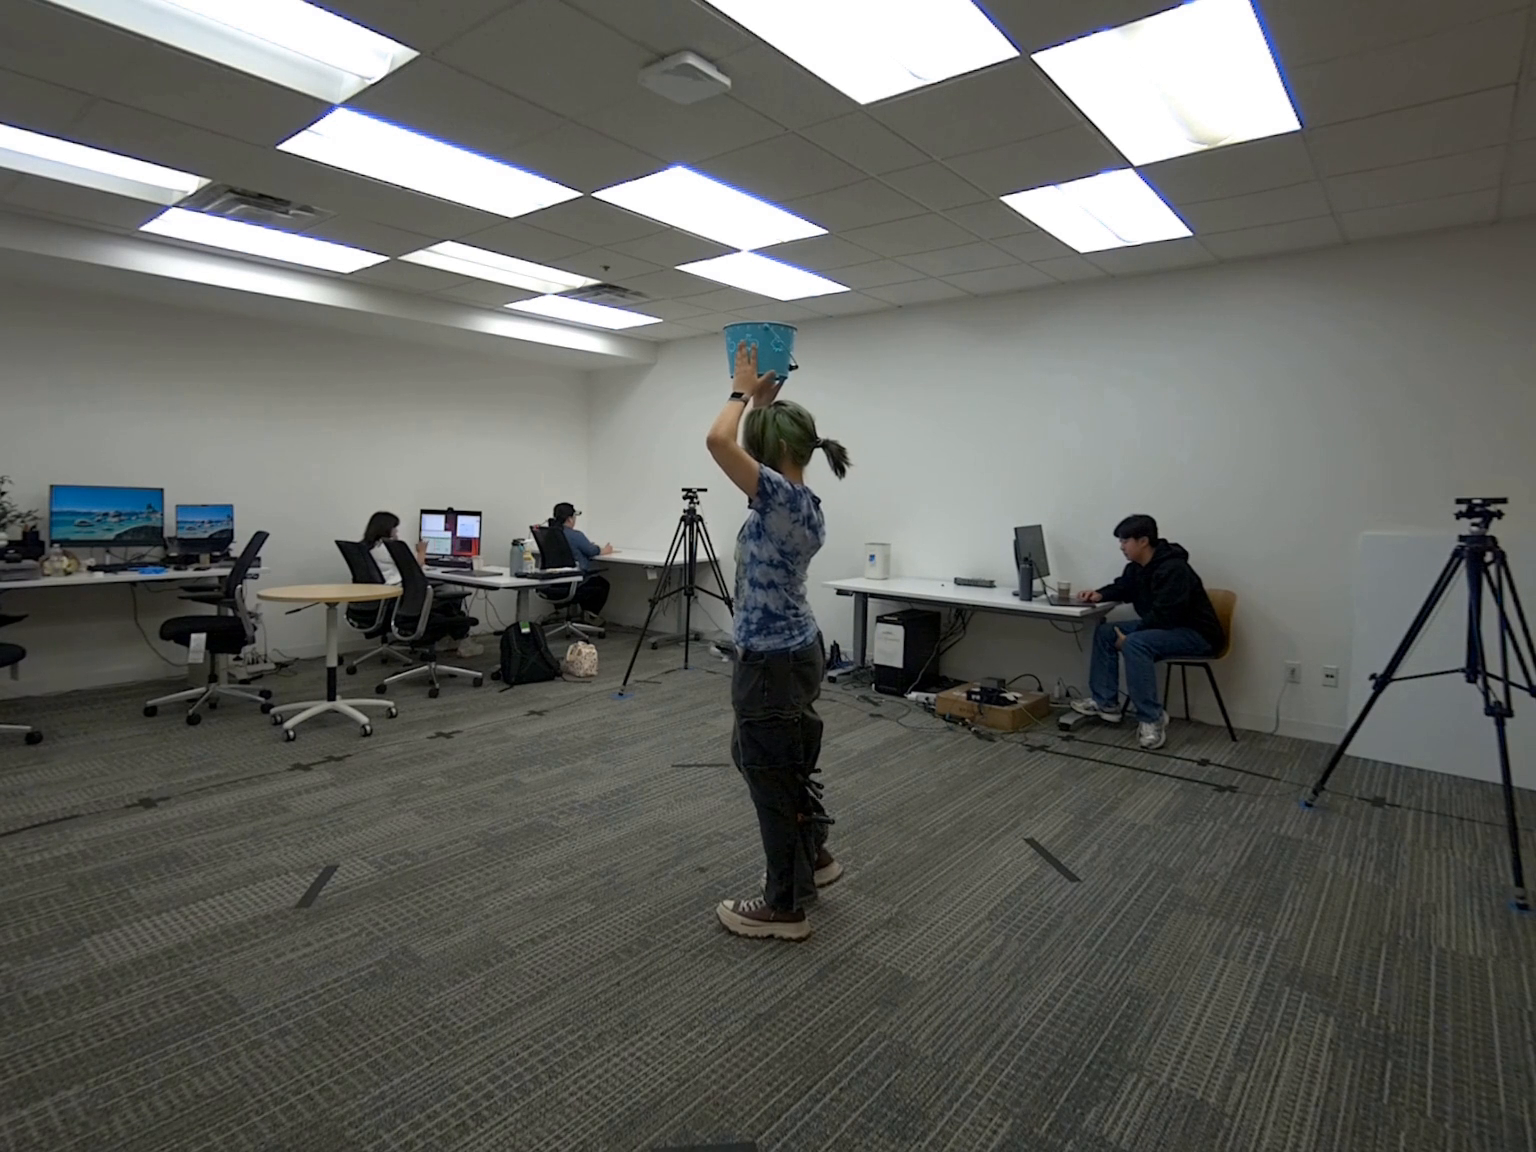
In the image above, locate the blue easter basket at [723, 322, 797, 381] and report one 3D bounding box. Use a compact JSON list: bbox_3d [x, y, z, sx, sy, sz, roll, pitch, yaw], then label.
[{"bbox_3d":[-0.023,-0.702,2.646,0.243,0.155,0.245,2,5,-2],"label":"blue easter basket"}]
